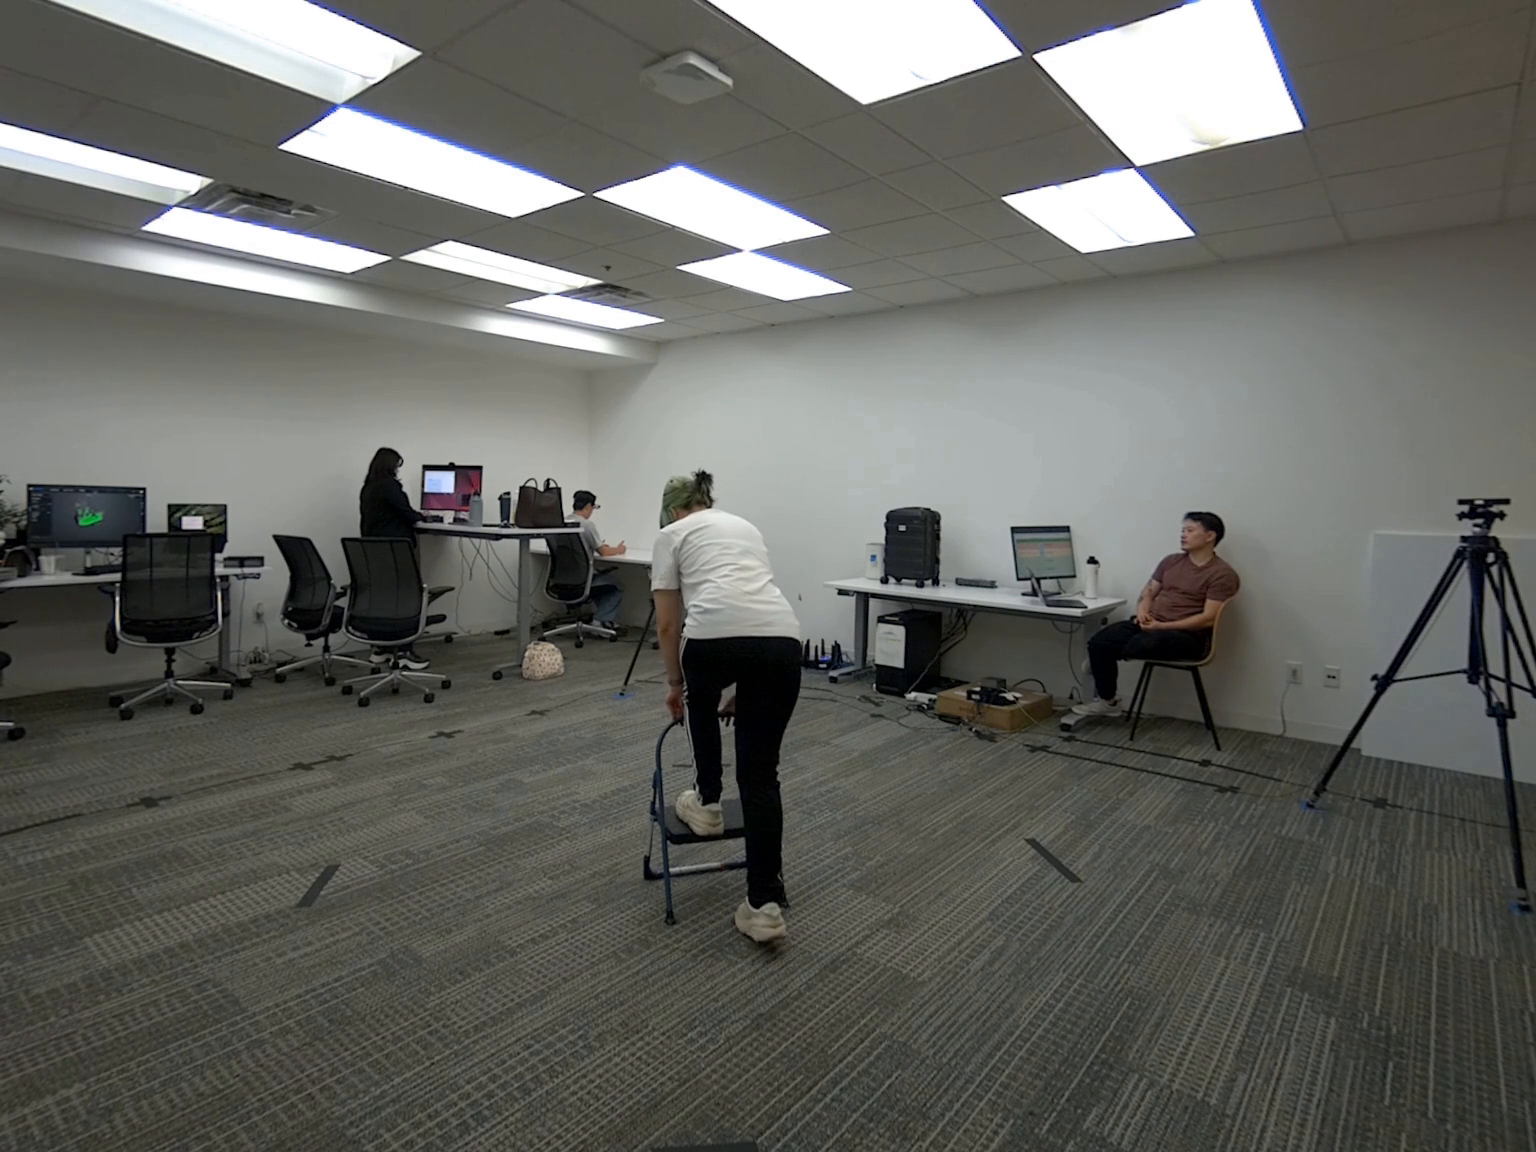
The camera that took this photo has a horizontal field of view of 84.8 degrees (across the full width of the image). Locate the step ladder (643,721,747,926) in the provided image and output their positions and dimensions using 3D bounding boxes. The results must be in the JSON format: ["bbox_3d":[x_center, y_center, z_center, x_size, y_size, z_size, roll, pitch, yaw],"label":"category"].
[{"bbox_3d":[-0.194,0.793,2.922,0.422,0.604,0.358,0,4,-21],"label":"step ladder"}]
